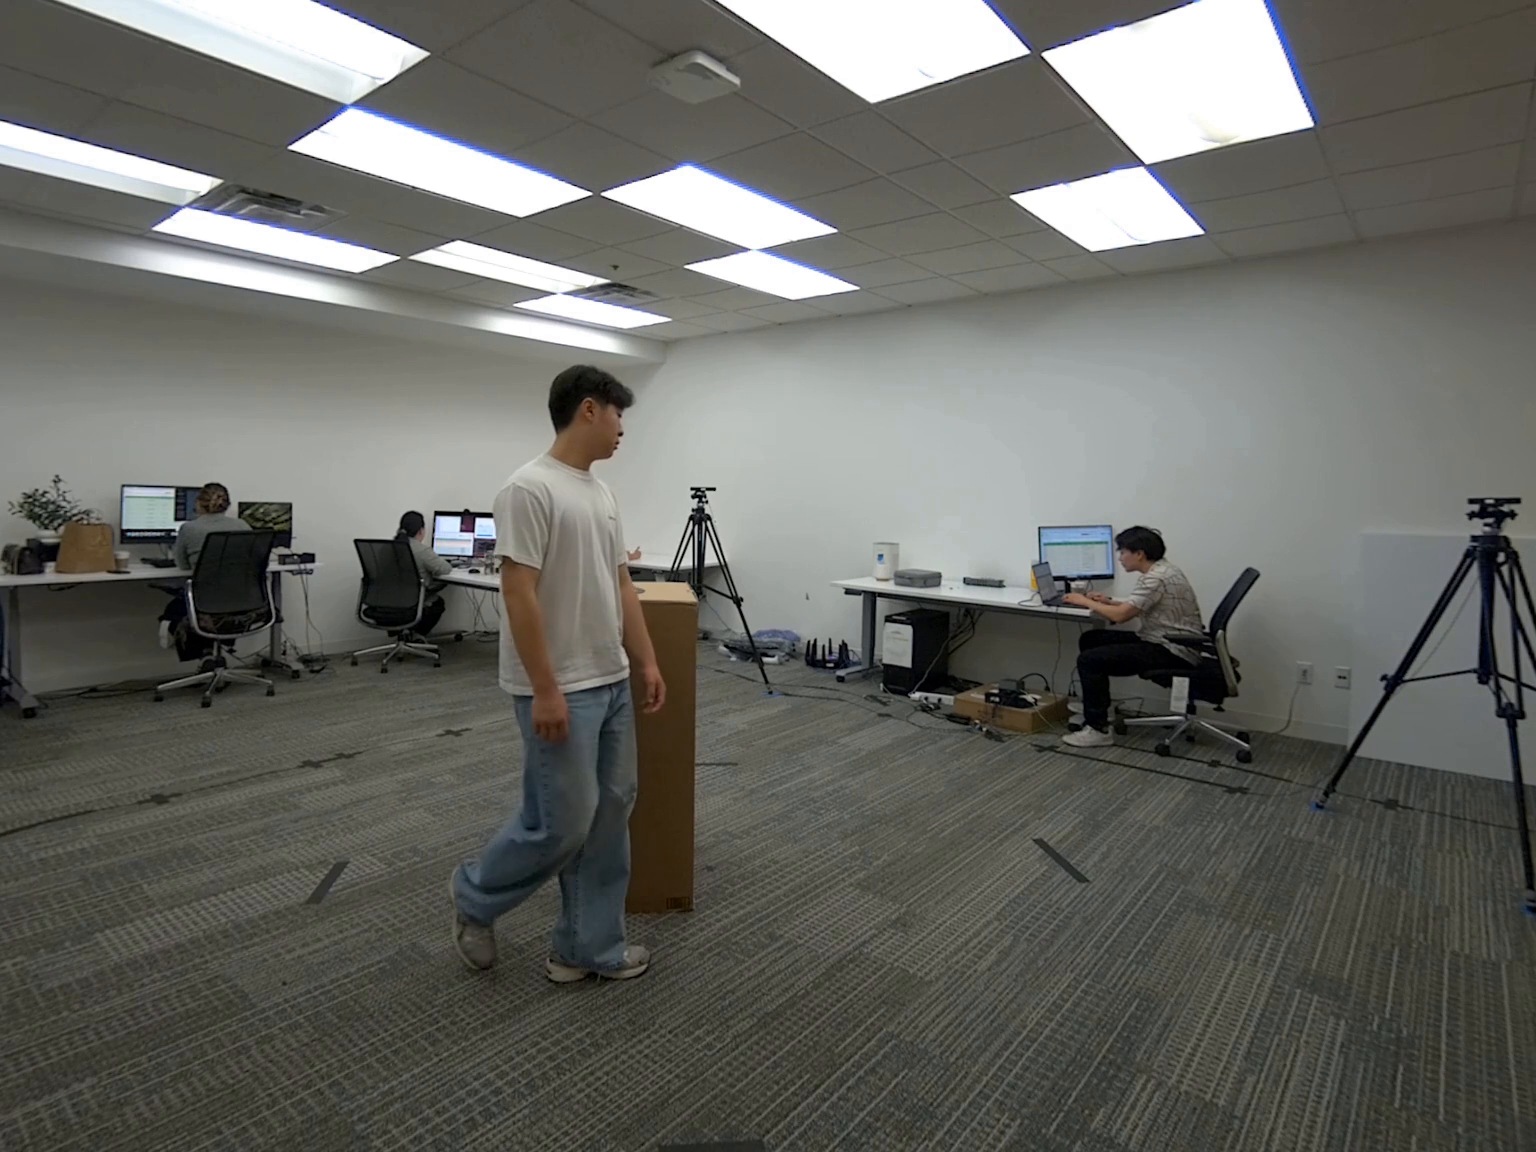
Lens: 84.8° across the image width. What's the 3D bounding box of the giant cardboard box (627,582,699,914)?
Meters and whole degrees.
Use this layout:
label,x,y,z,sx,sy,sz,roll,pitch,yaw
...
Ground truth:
label,x,y,z,sx,sy,sz,roll,pitch,yaw
giant cardboard box,-0.494,0.559,3.024,0.423,1.023,0.584,1,3,-8
